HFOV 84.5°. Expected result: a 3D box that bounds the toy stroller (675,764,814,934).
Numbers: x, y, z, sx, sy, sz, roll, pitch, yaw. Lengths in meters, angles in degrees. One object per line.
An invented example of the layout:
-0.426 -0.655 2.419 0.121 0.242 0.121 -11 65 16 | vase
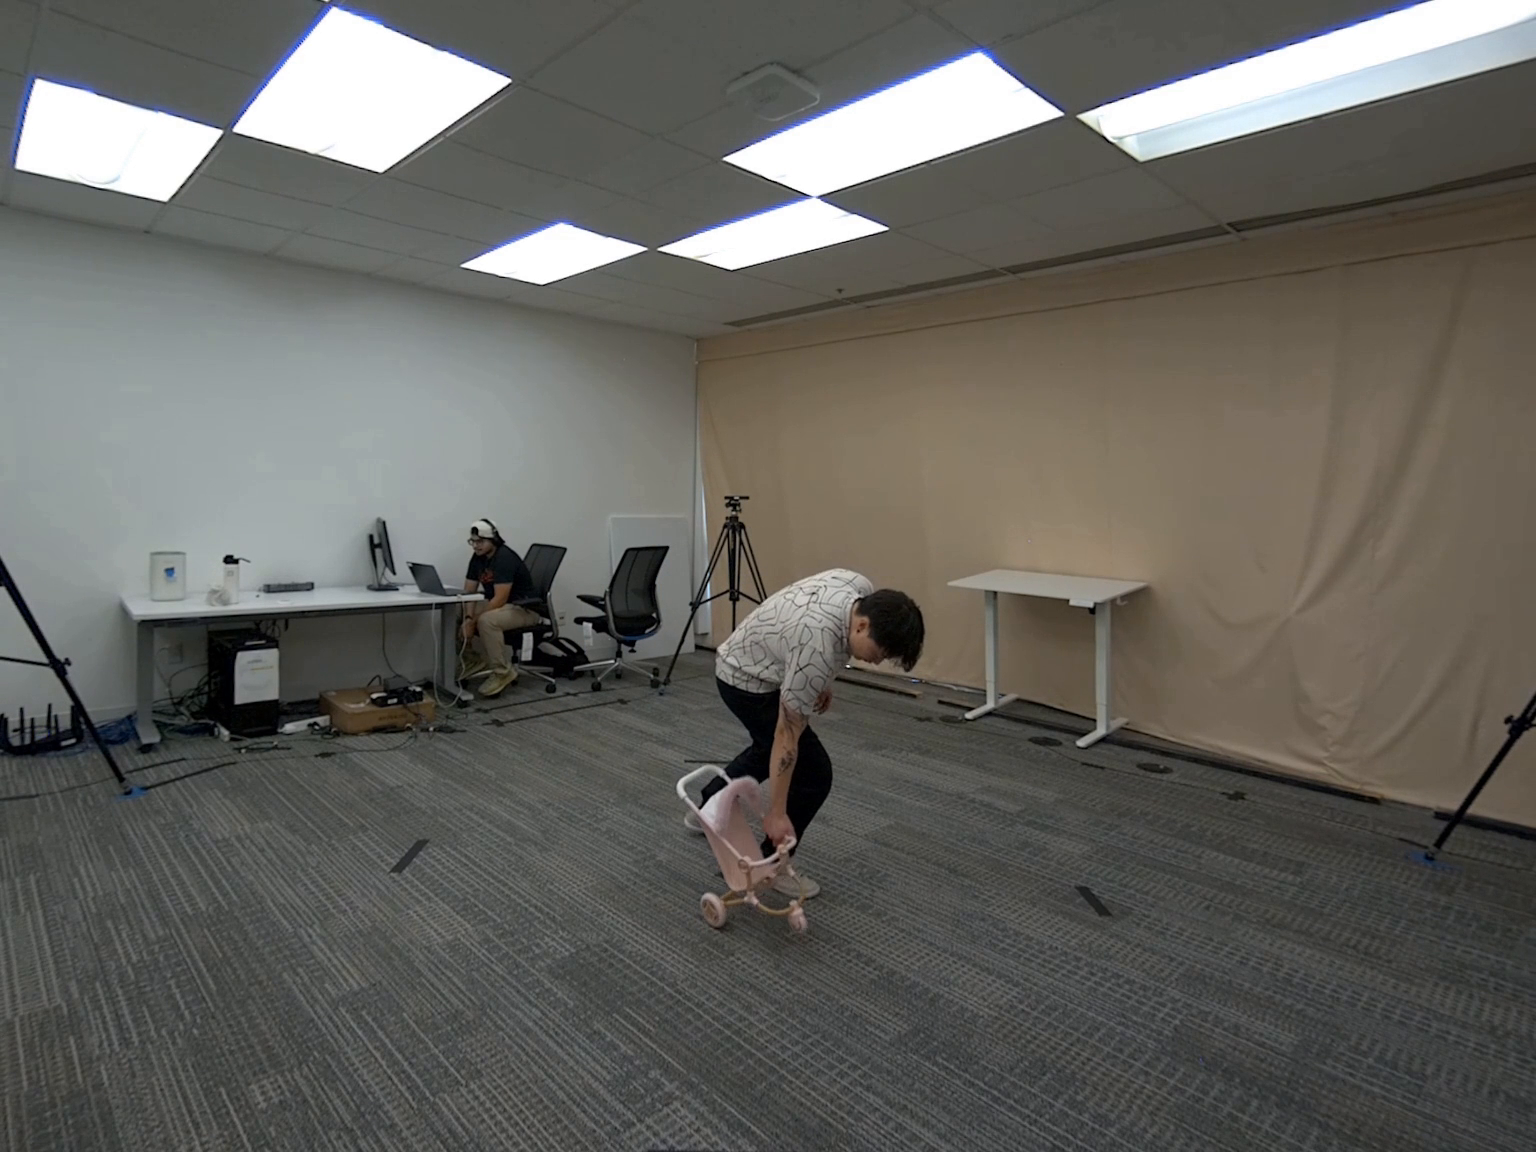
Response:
-0.069 0.888 2.725 0.276 0.536 0.347 -14 -3 -44 | toy stroller
